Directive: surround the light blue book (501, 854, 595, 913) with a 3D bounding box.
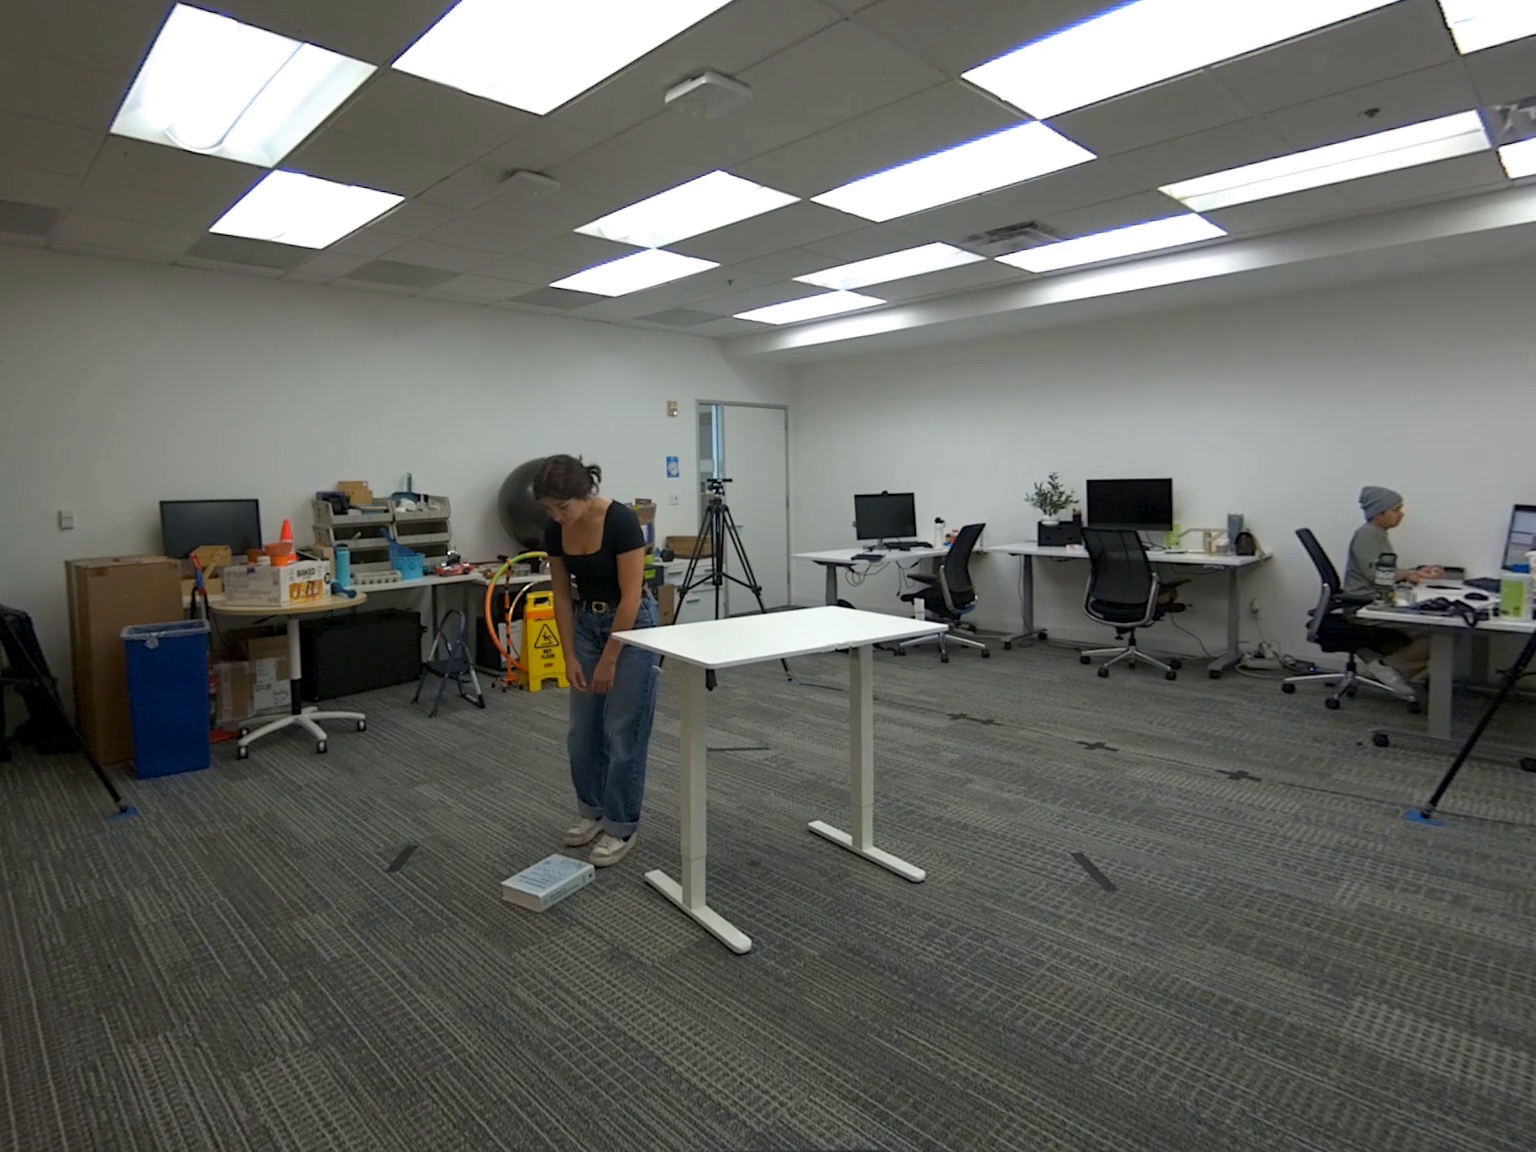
[{"bbox_3d":[-0.754,1.052,2.928,0.196,0.059,0.255,2,7,31],"label":"light blue book"}]
